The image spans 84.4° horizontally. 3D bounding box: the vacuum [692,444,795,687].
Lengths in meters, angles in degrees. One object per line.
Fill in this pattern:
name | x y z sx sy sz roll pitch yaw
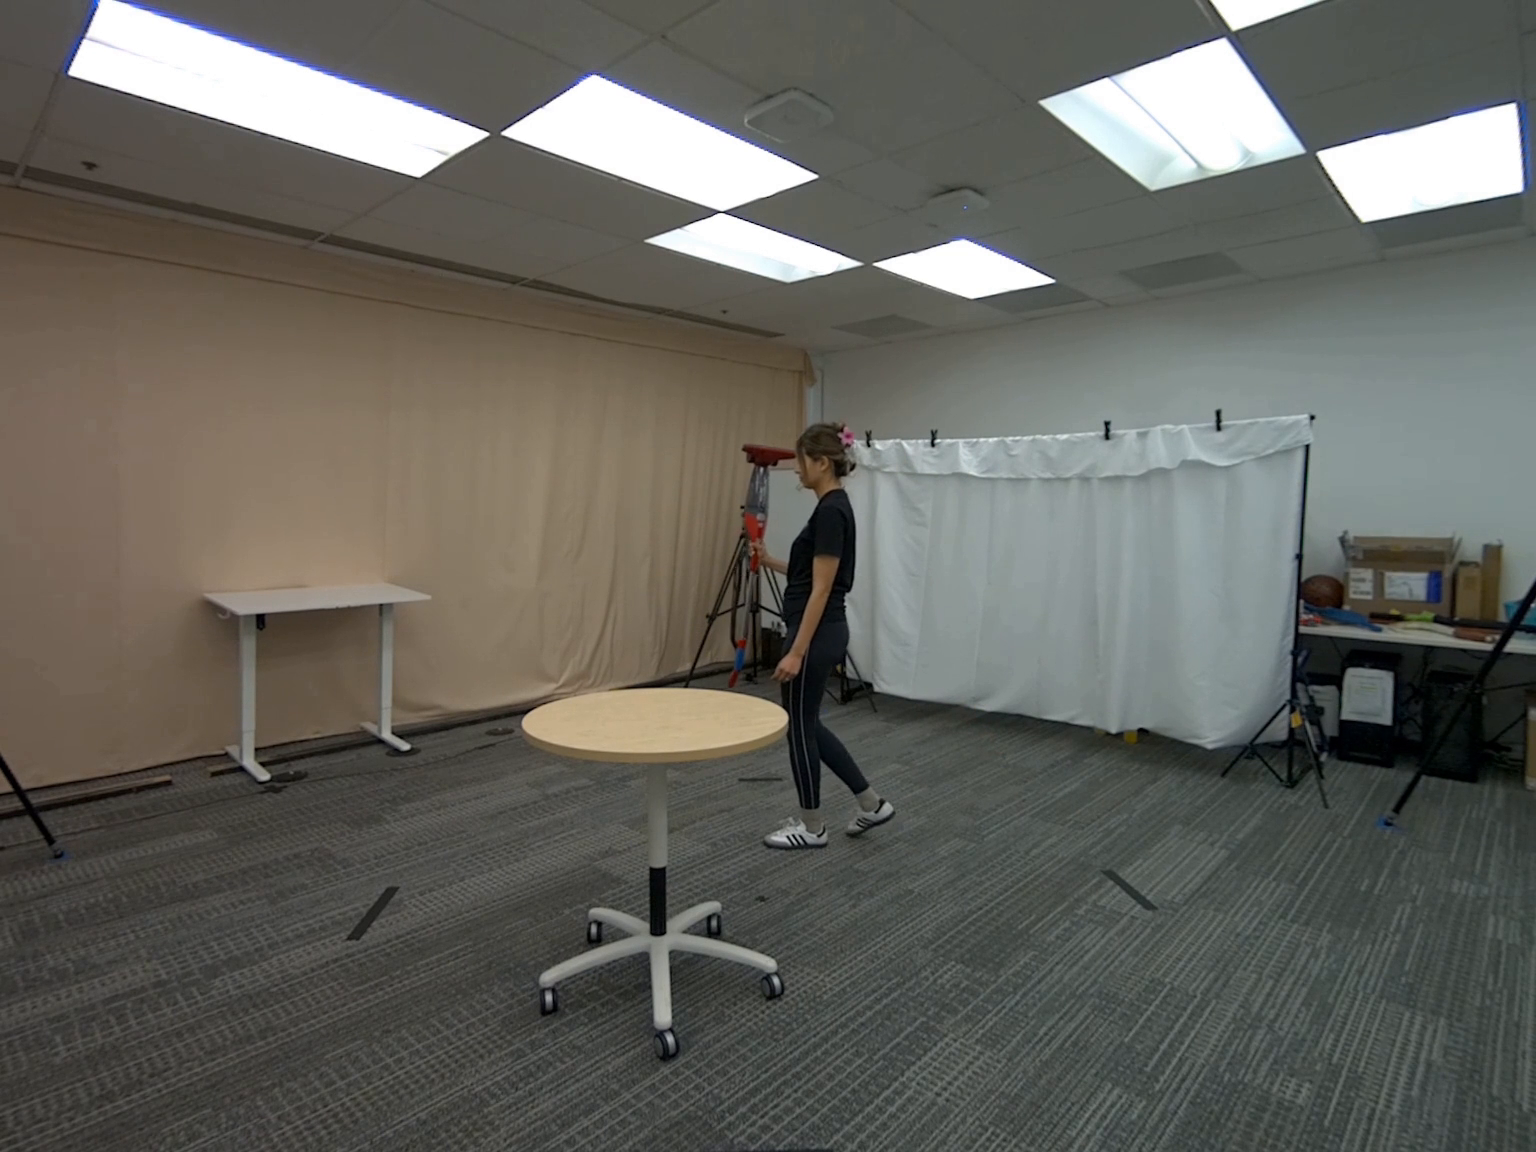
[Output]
vacuum | -0.086 -0.022 3.683 0.248 1.046 0.147 8 7 -18
